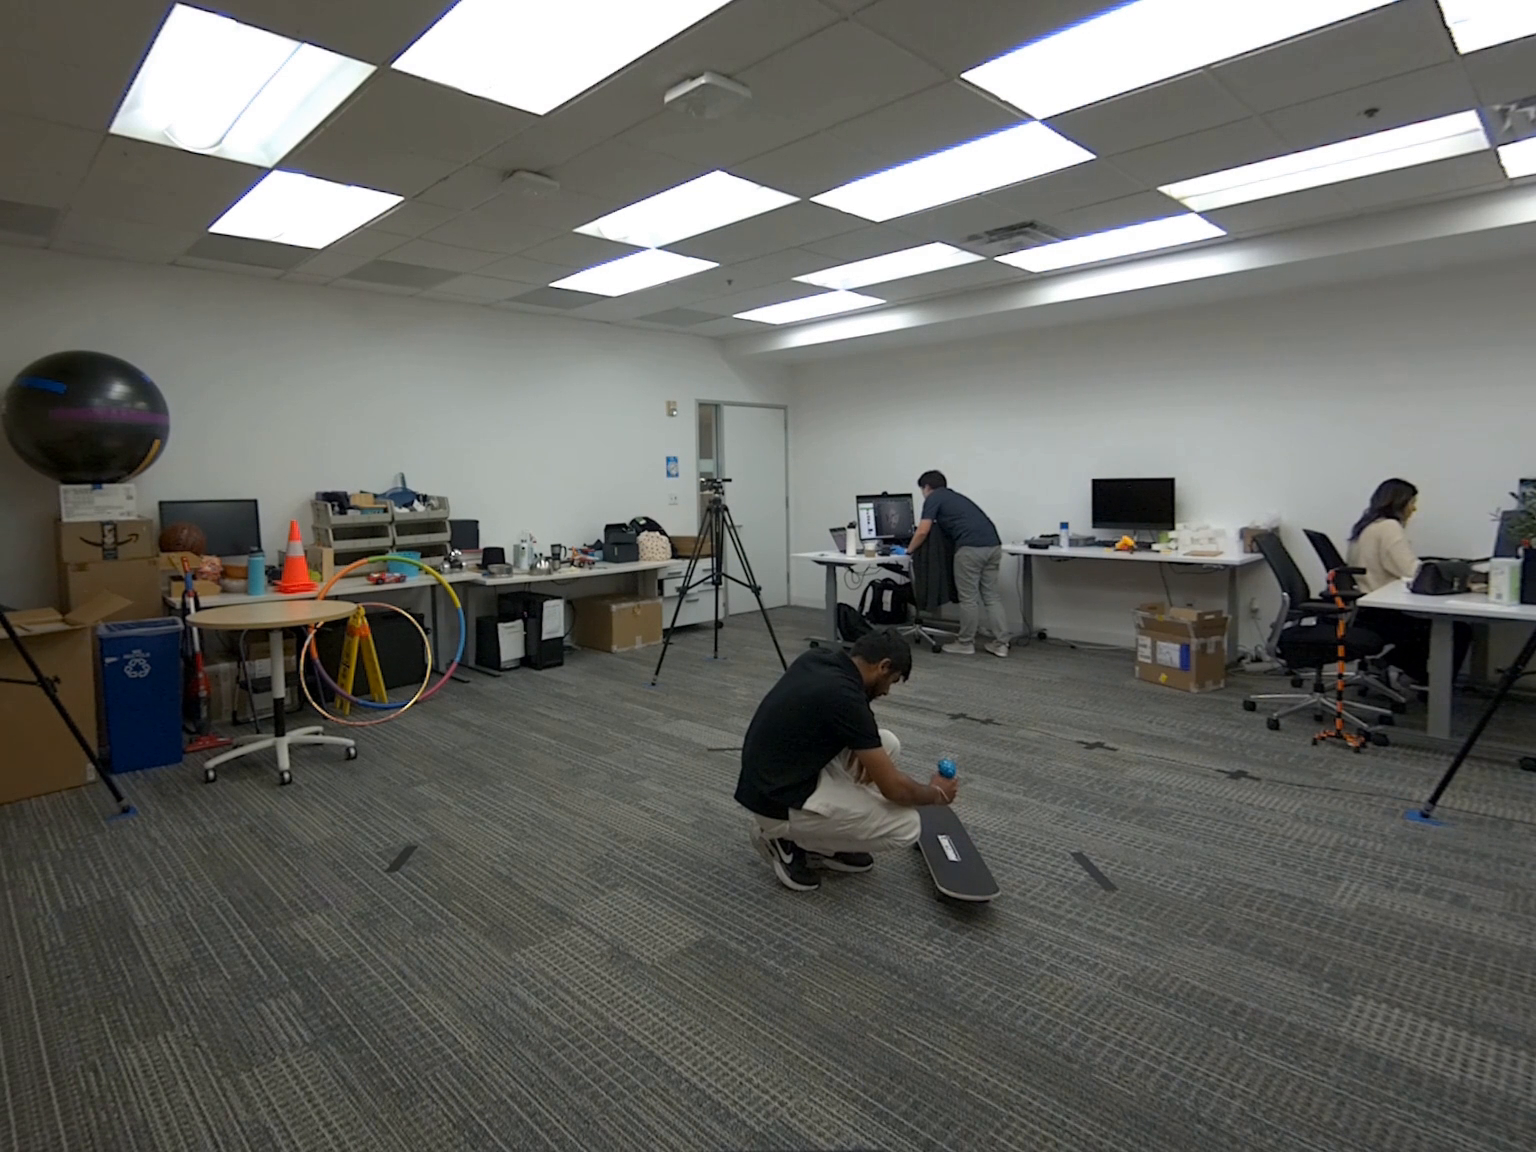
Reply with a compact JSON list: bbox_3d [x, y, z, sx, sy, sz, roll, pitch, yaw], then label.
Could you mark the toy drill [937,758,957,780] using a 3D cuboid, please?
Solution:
[{"bbox_3d":[0.642,0.723,3.092,0.061,0.145,0.170,10,5,-1],"label":"toy drill"}]
